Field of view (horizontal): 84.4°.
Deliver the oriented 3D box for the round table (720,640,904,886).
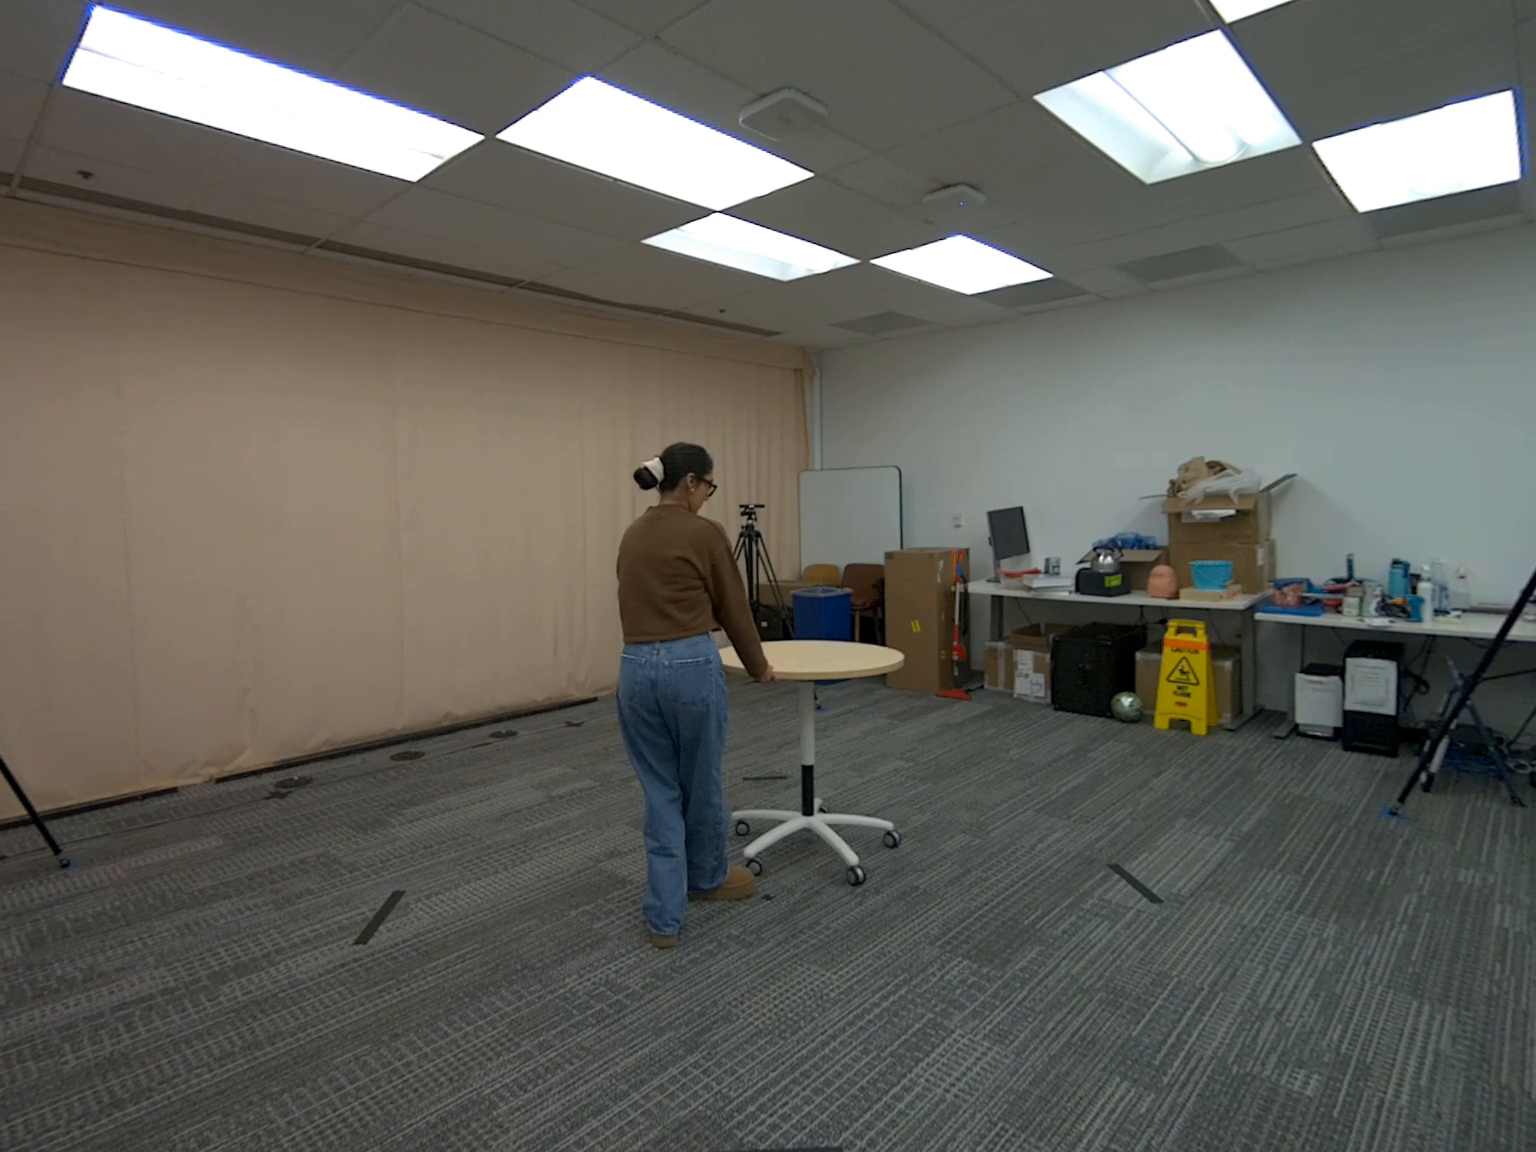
[{"bbox_3d":[0.163,0.708,3.357,0.784,0.785,0.787,-1,3,-2],"label":"round table"}]
